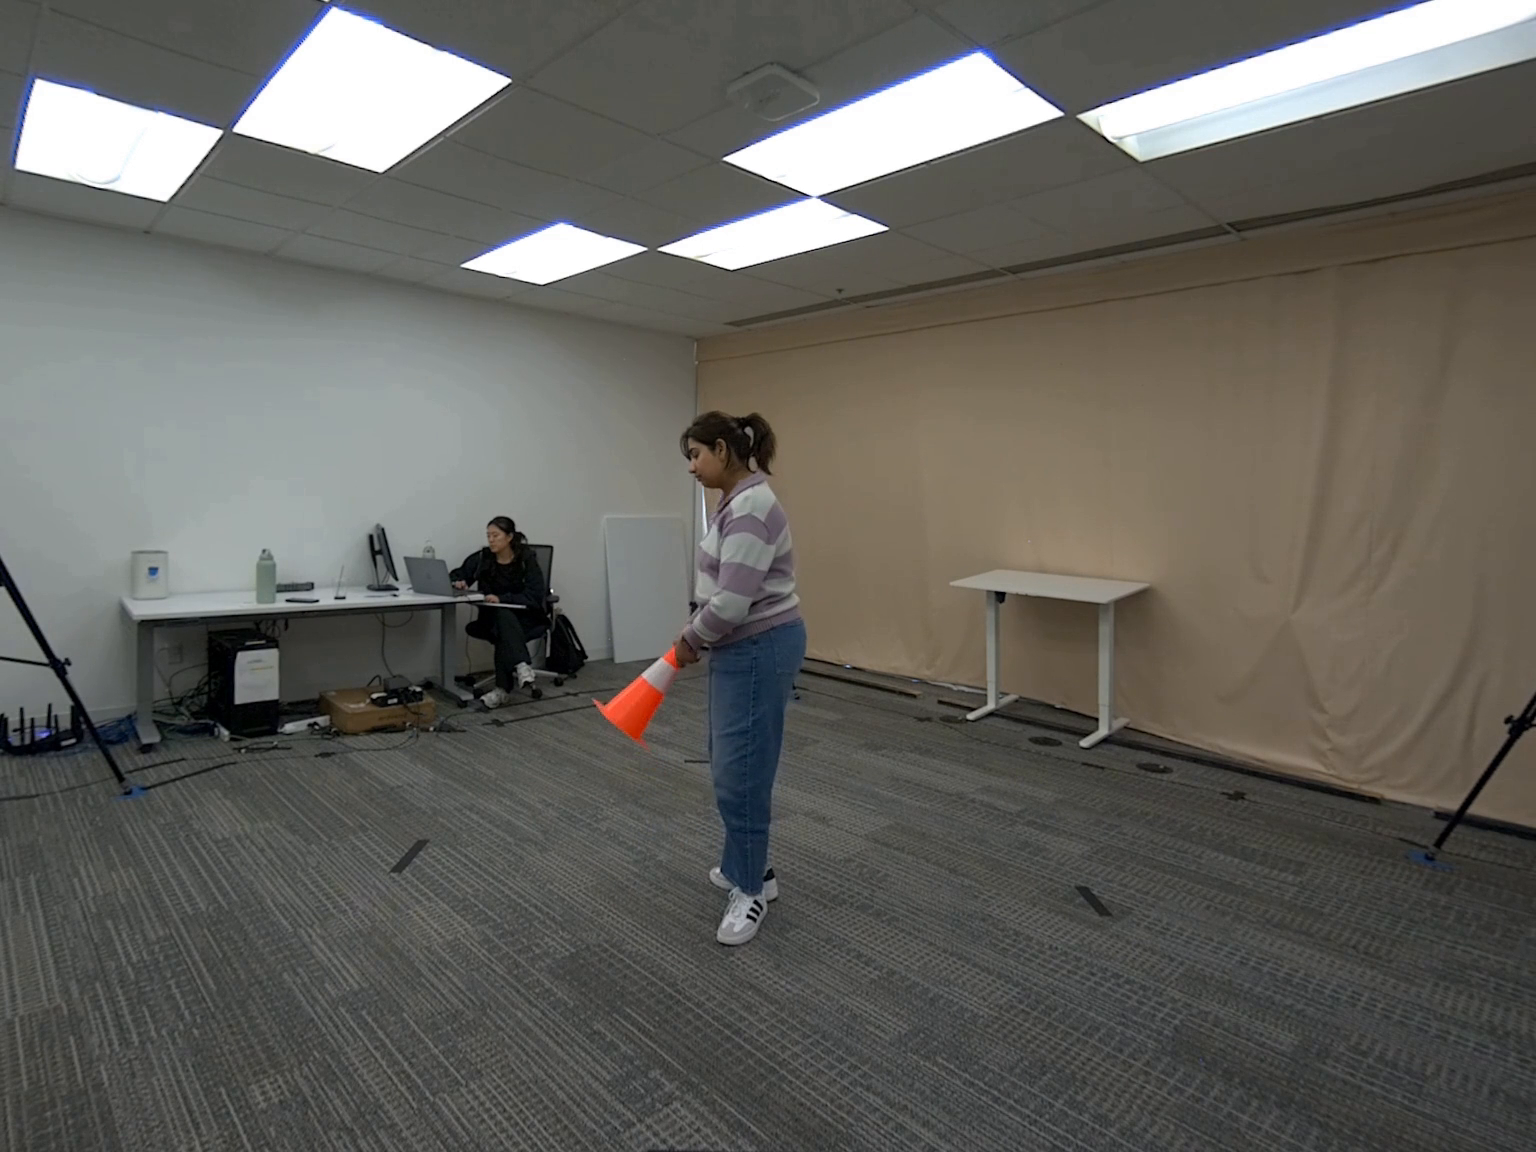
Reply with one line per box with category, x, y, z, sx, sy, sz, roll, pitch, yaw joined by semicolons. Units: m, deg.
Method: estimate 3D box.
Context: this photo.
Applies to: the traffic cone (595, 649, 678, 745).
traffic cone;-0.363;0.352;2.816;0.198;0.384;0.210;42;-3;-27
